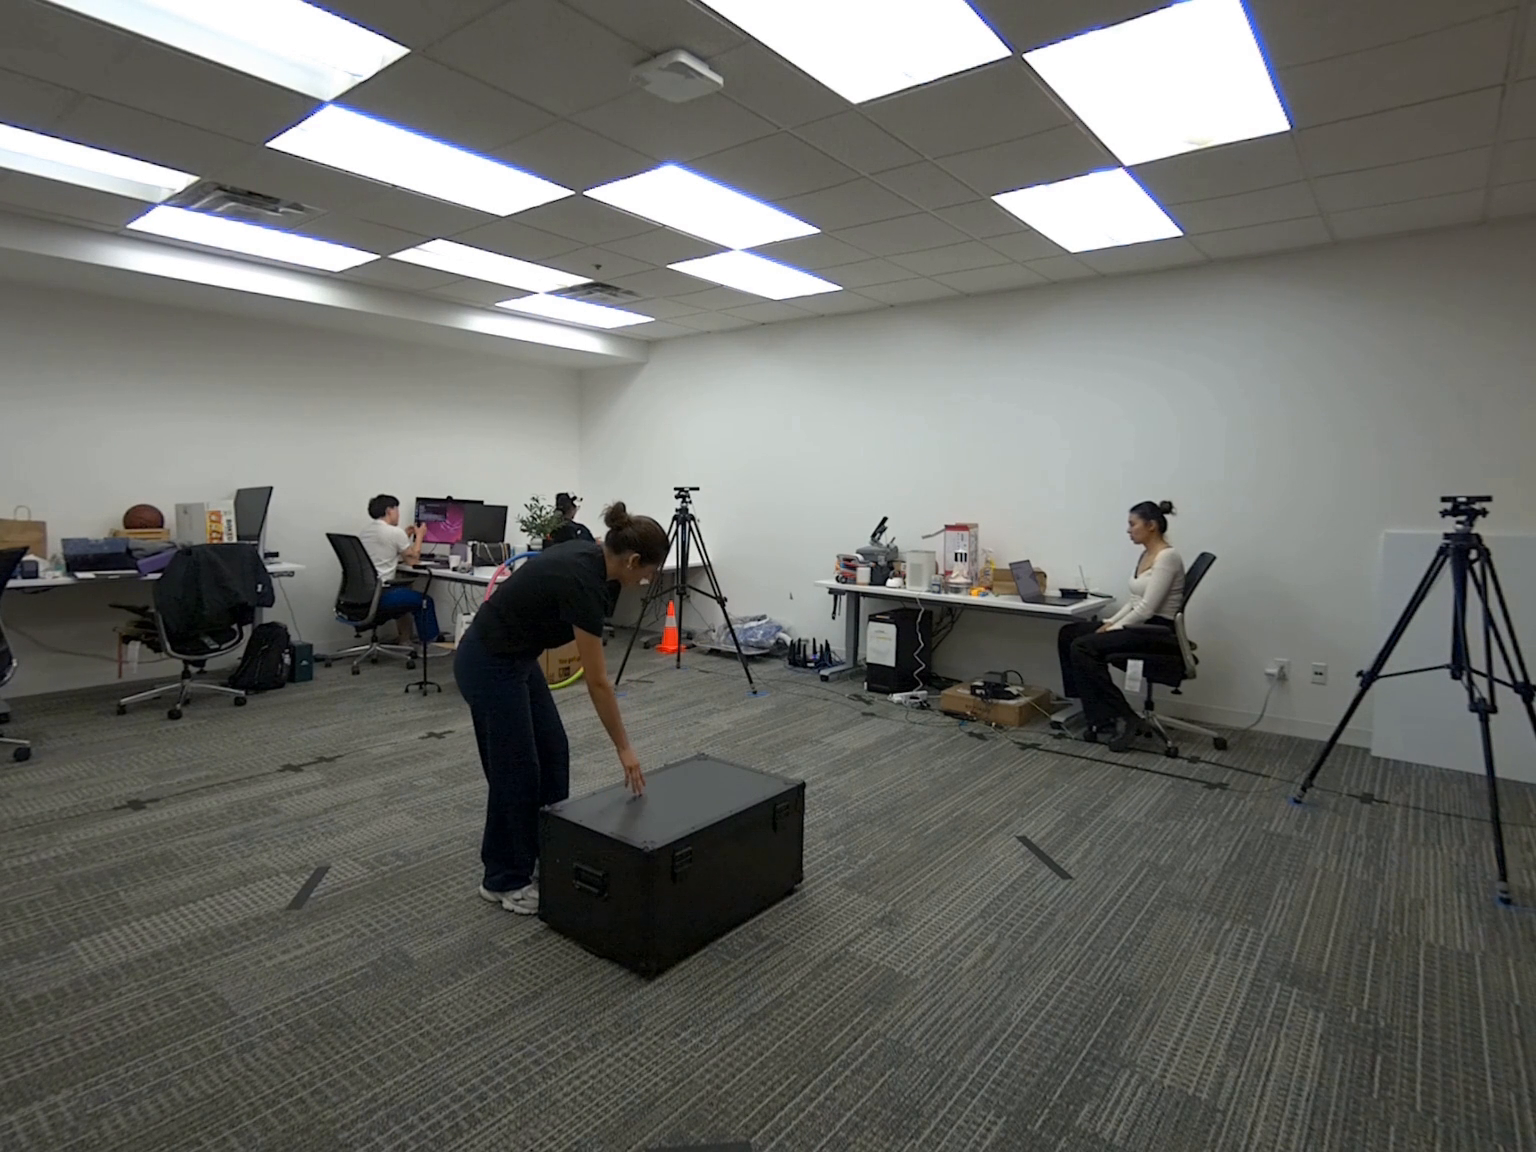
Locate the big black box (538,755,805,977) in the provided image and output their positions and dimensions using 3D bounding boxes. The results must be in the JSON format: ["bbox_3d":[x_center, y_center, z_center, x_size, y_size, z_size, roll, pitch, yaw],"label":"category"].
[{"bbox_3d":[-0.269,0.882,2.853,0.538,0.395,0.836,4,5,38],"label":"big black box"}]
